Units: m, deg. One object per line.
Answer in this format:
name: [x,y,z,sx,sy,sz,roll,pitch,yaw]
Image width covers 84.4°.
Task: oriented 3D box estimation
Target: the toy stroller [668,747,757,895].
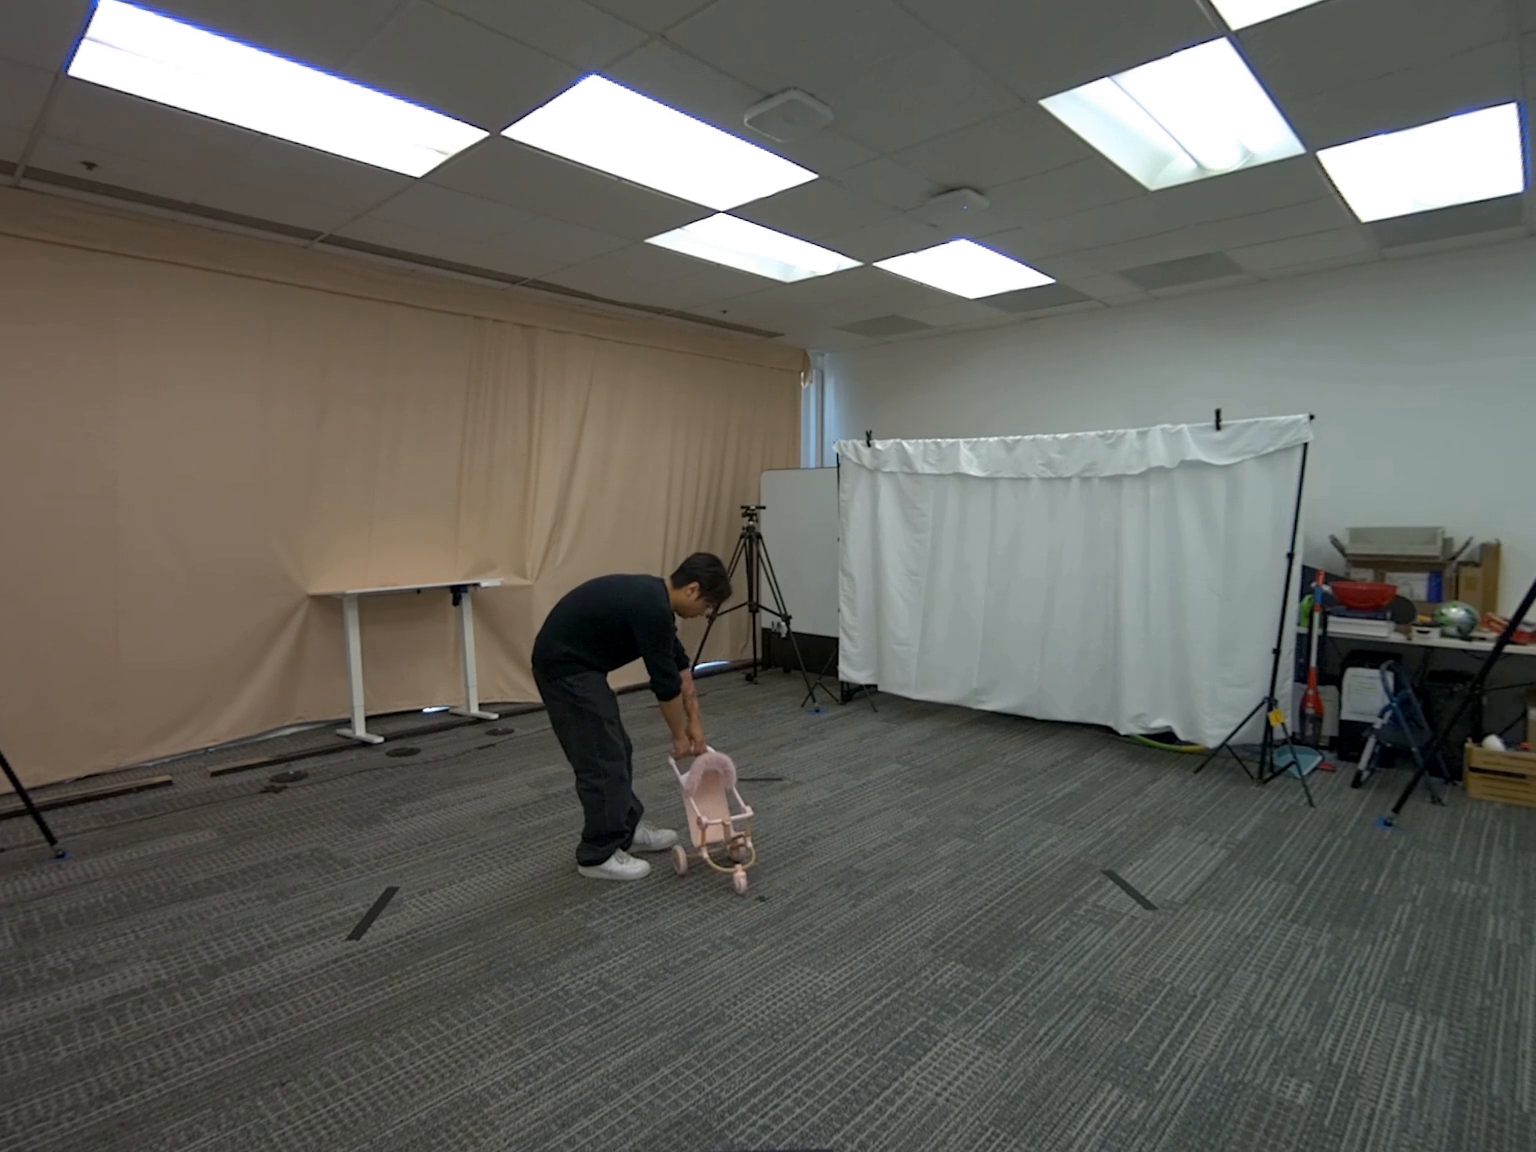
toy stroller: [-0.197,0.906,3.176,0.275,0.540,0.346,-3,-13,-26]
